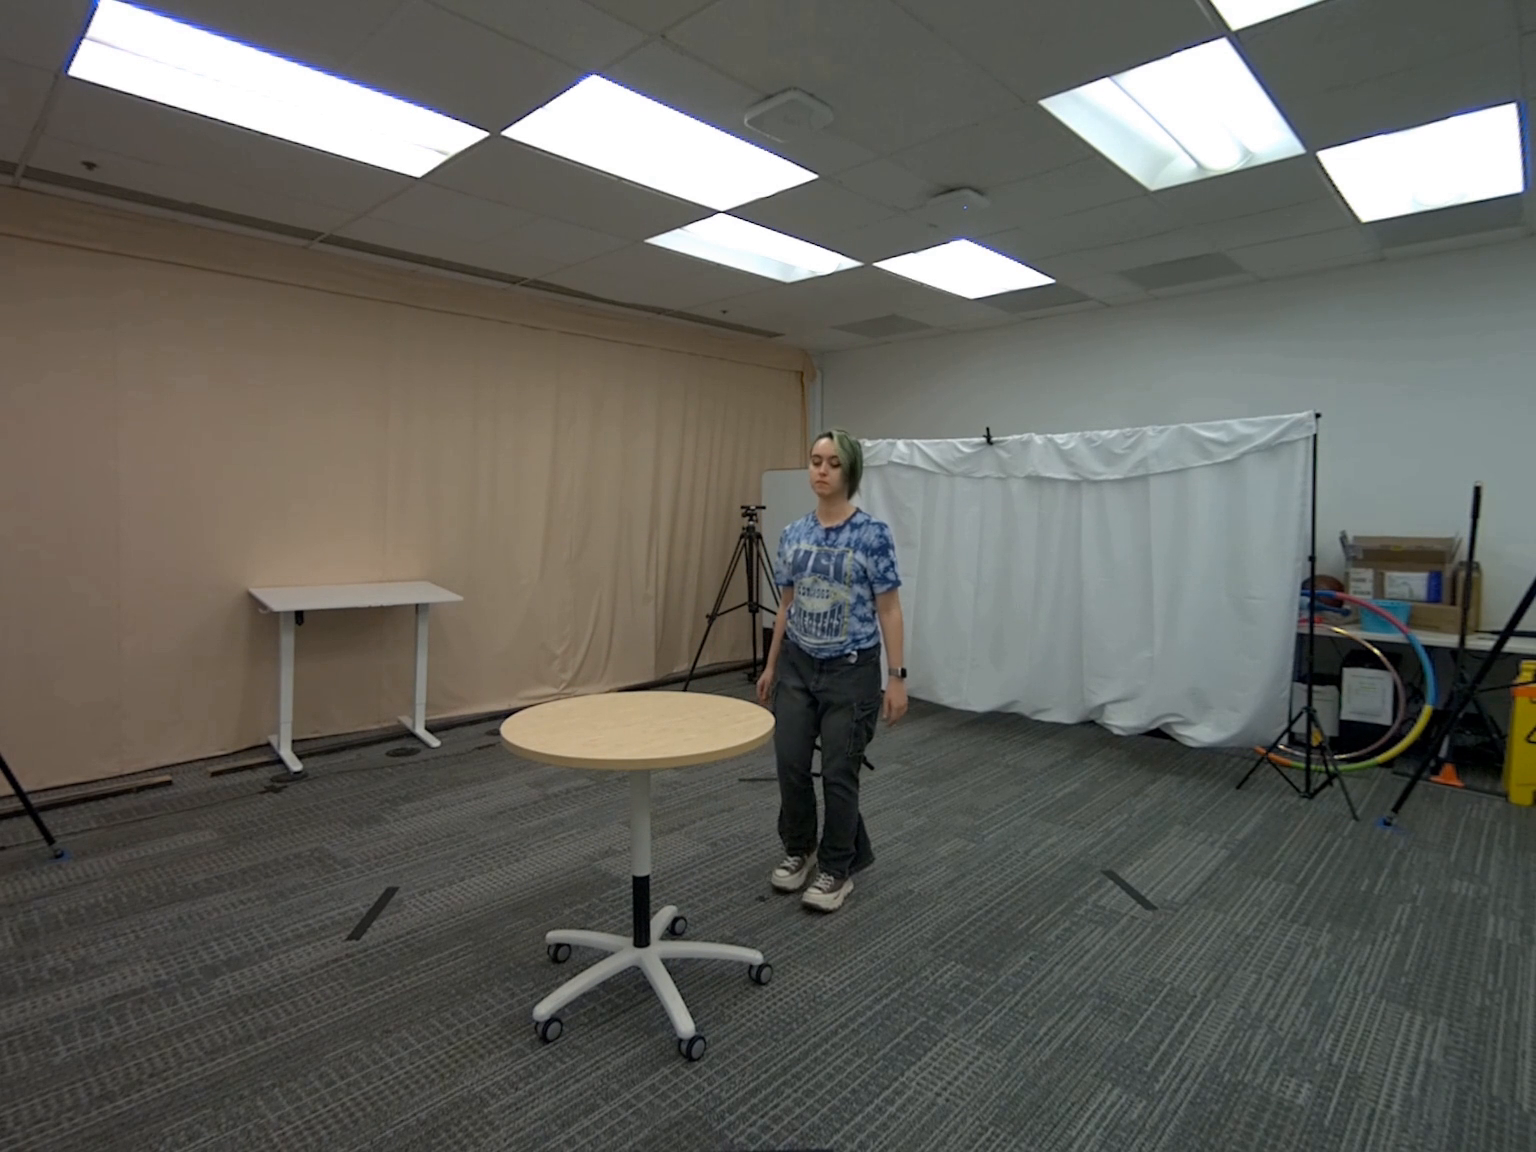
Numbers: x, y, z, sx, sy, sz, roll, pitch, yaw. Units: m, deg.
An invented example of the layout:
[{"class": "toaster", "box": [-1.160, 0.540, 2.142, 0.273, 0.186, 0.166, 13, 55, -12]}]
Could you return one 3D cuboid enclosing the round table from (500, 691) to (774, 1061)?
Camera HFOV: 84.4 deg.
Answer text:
[{"class": "round table", "box": [-0.363, 0.807, 2.394, 0.763, 0.792, 0.766, -1, 4, -2]}]
